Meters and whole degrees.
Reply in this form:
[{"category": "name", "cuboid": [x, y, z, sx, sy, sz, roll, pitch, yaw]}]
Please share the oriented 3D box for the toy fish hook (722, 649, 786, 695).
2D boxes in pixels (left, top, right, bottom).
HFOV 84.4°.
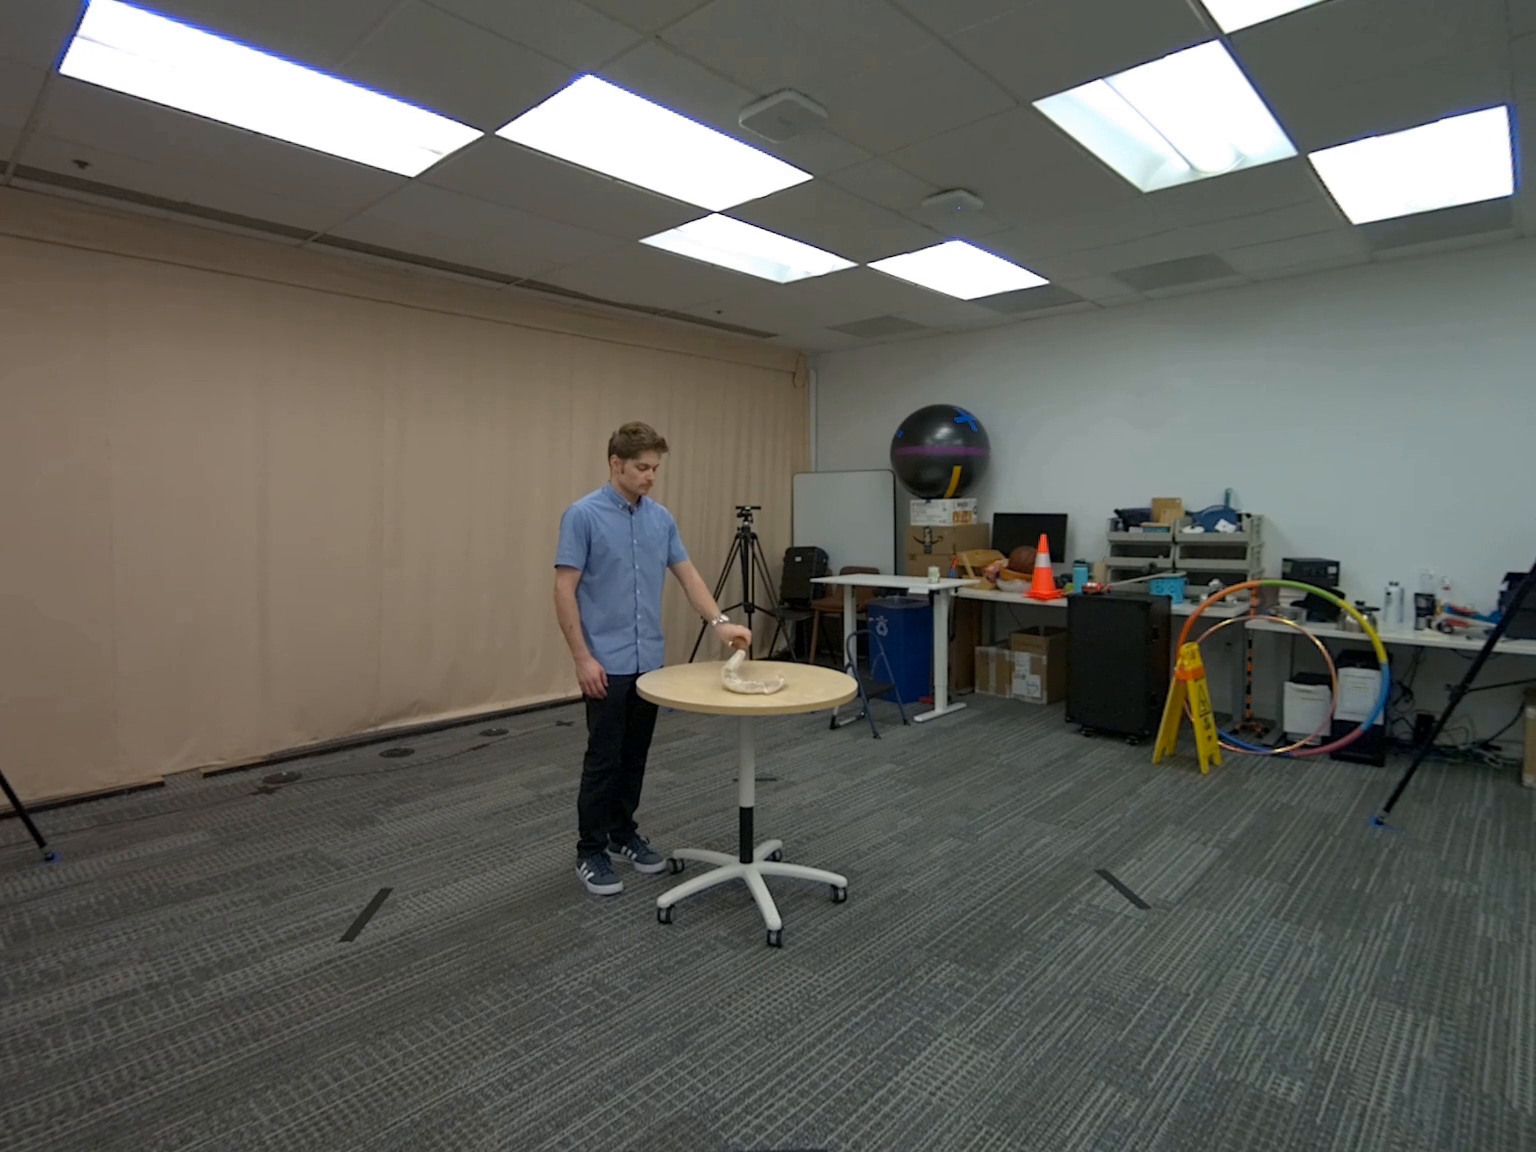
[{"category": "toy fish hook", "cuboid": [-0.031, 0.314, 2.955, 0.224, 0.048, 0.510, 11, 15, -3]}]
